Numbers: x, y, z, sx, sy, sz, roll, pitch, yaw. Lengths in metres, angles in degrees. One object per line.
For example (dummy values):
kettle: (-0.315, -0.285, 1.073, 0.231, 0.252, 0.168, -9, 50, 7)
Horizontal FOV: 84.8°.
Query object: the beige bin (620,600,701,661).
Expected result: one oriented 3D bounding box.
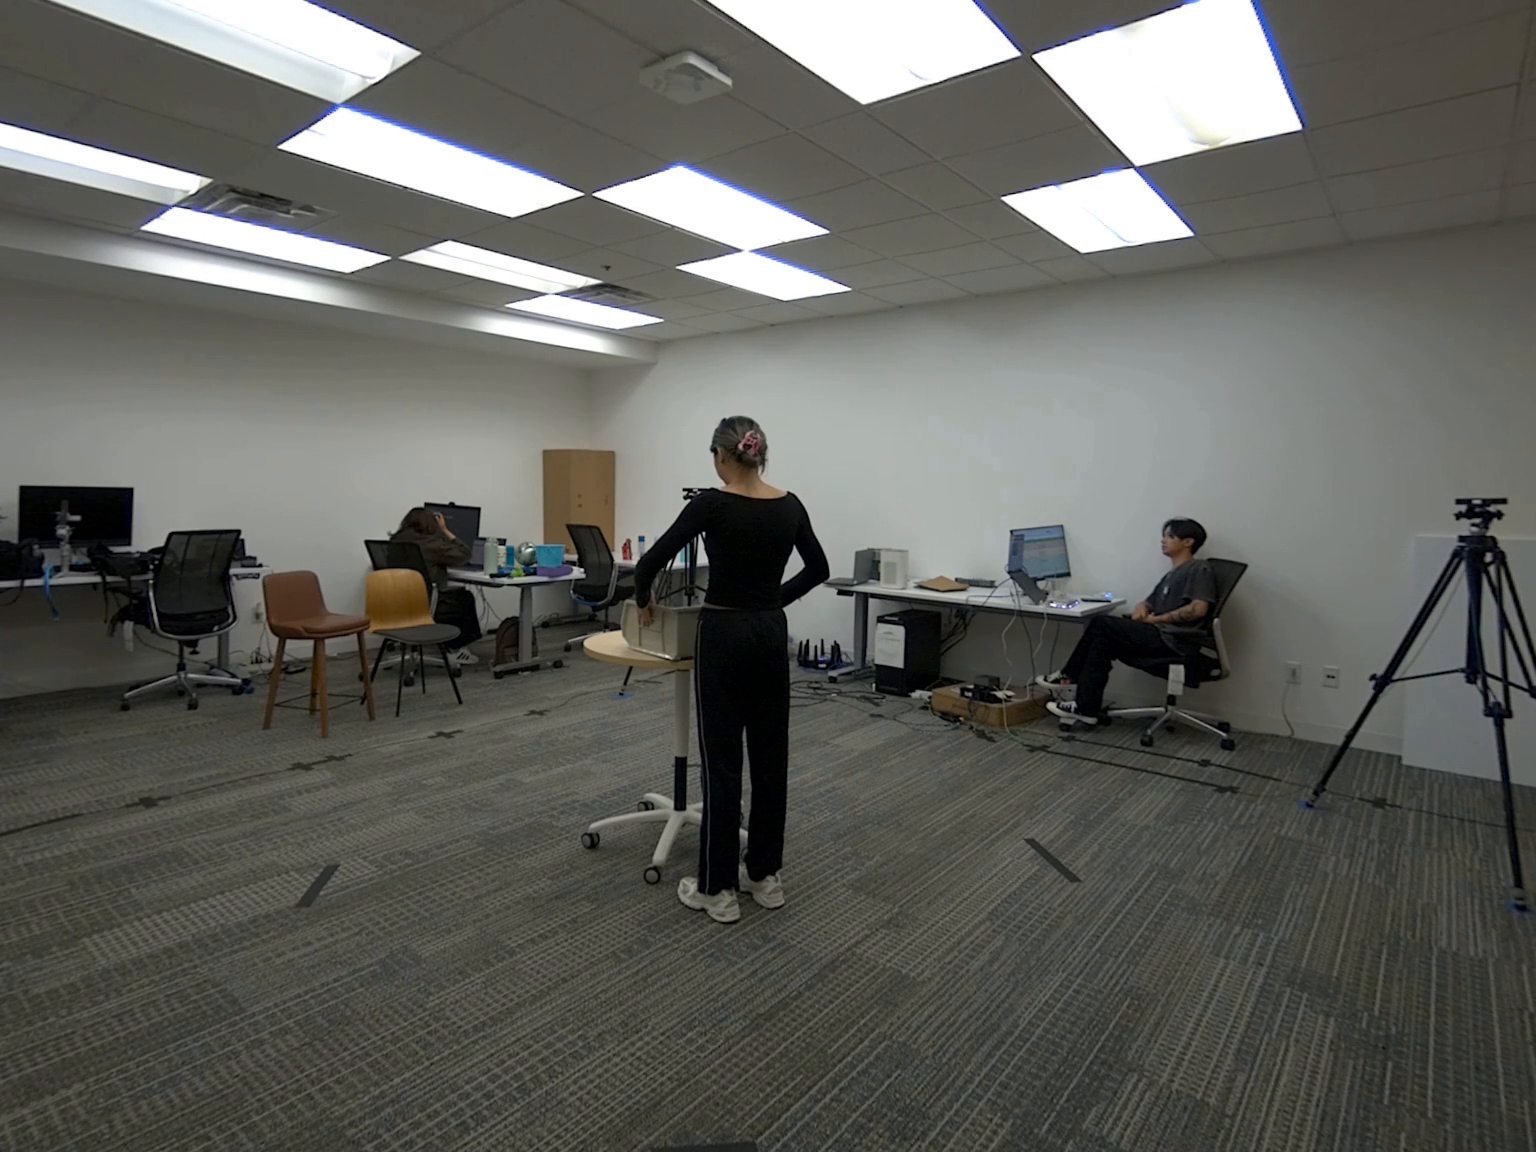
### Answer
beige bin: (-0.284, 0.173, 3.151, 0.409, 0.188, 0.390, -1, 5, -38)
